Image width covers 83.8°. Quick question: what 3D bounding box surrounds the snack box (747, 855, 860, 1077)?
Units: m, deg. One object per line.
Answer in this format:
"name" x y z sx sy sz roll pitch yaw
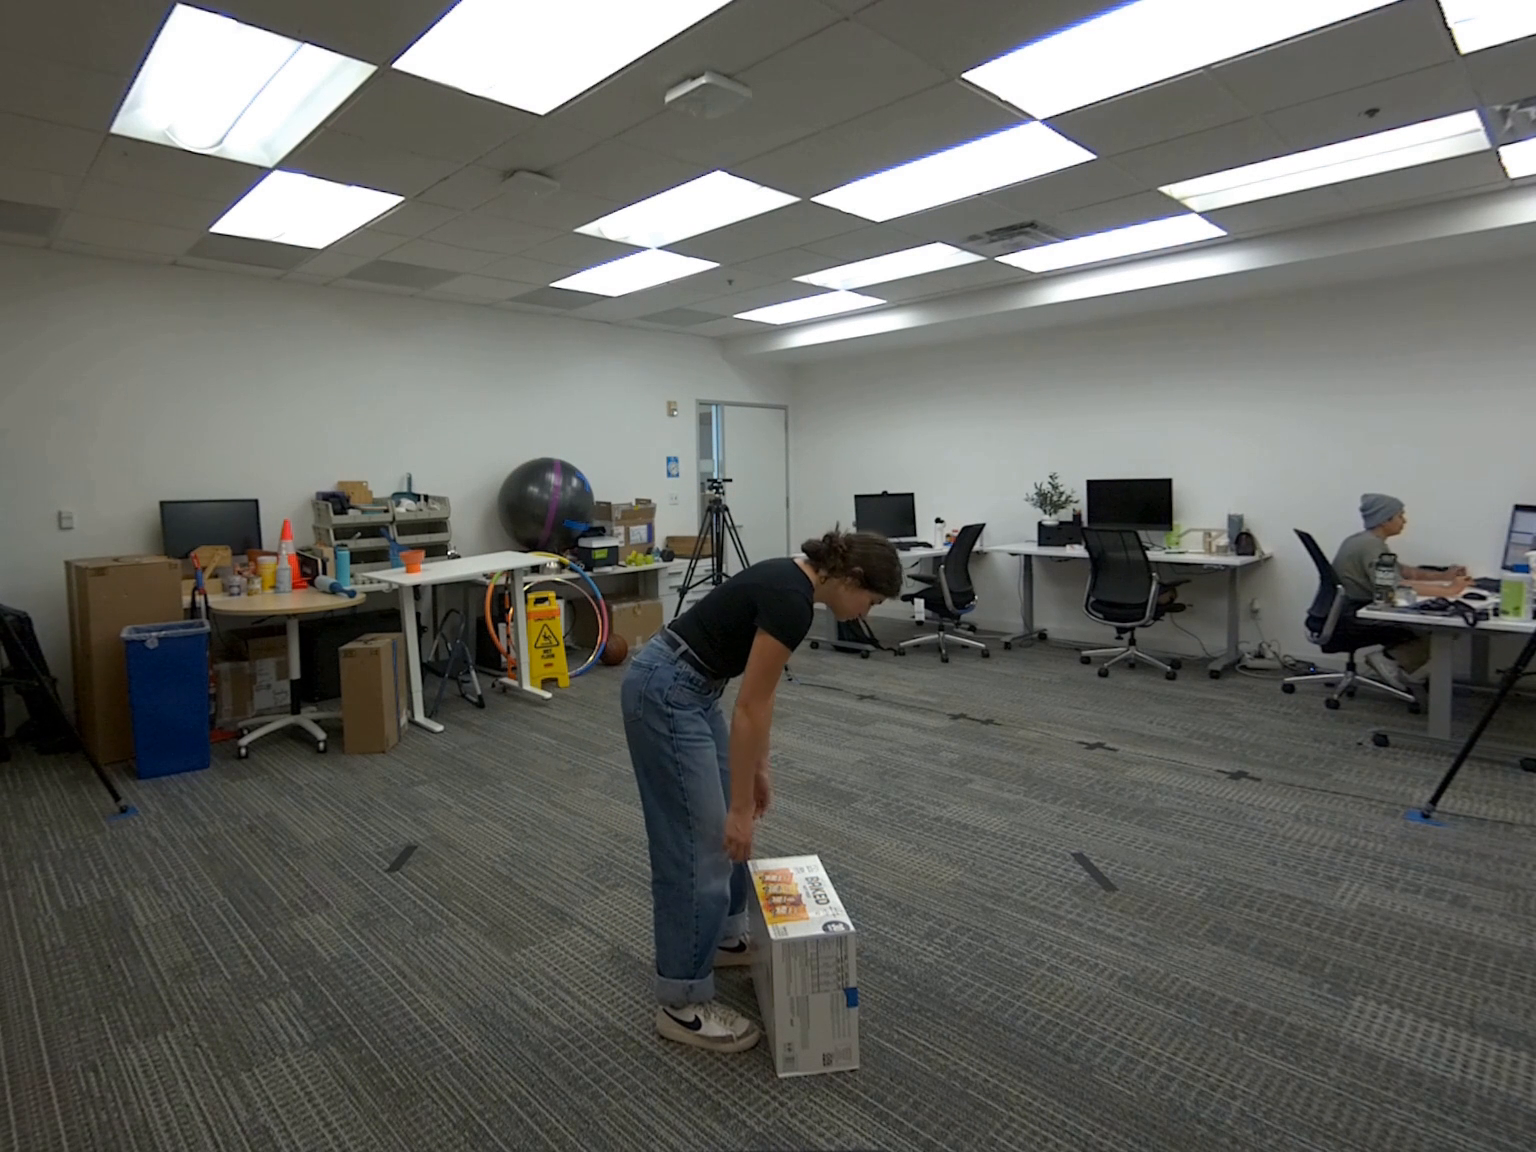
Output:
"snack box" 0.084 0.979 2.202 0.204 0.338 0.410 -4 6 -10
